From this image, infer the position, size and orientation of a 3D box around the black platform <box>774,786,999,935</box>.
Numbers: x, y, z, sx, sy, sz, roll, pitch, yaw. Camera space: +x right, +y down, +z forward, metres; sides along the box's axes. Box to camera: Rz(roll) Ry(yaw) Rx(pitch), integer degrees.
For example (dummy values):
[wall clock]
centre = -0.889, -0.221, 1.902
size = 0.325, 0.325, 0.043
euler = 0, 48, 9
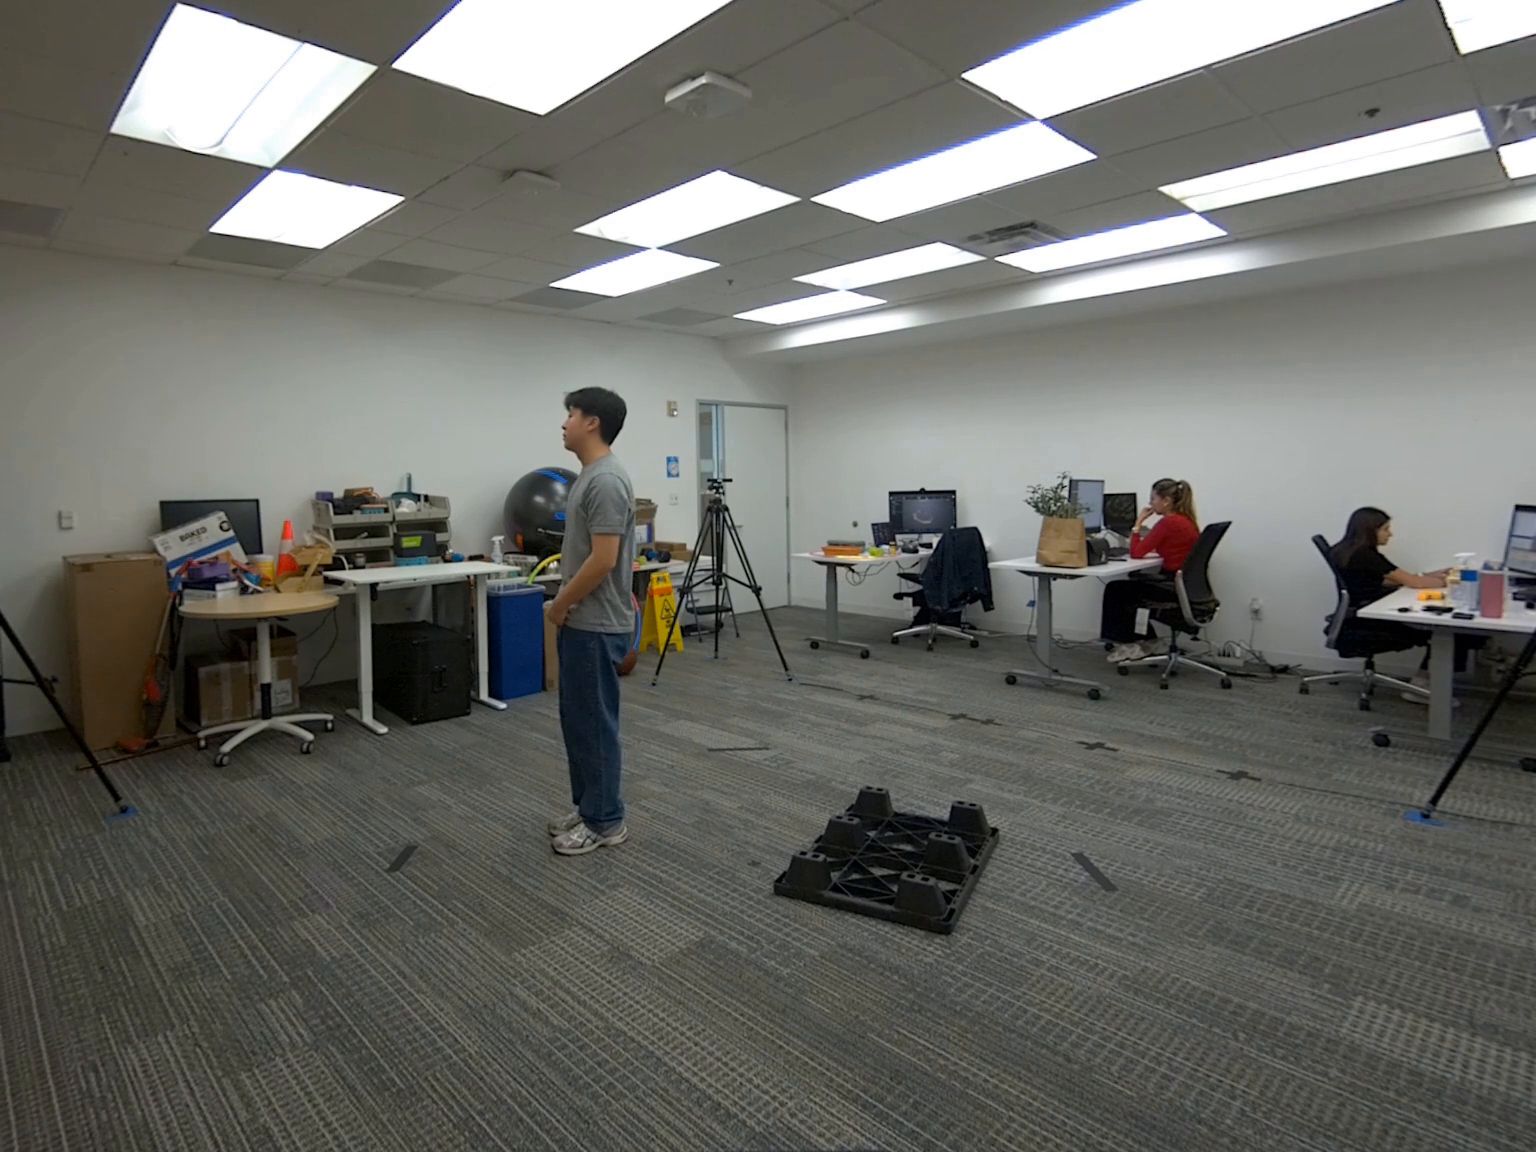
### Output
[black platform]
centre = 0.457, 0.975, 3.065
size = 0.620, 0.142, 0.790
euler = 2, 7, 26
